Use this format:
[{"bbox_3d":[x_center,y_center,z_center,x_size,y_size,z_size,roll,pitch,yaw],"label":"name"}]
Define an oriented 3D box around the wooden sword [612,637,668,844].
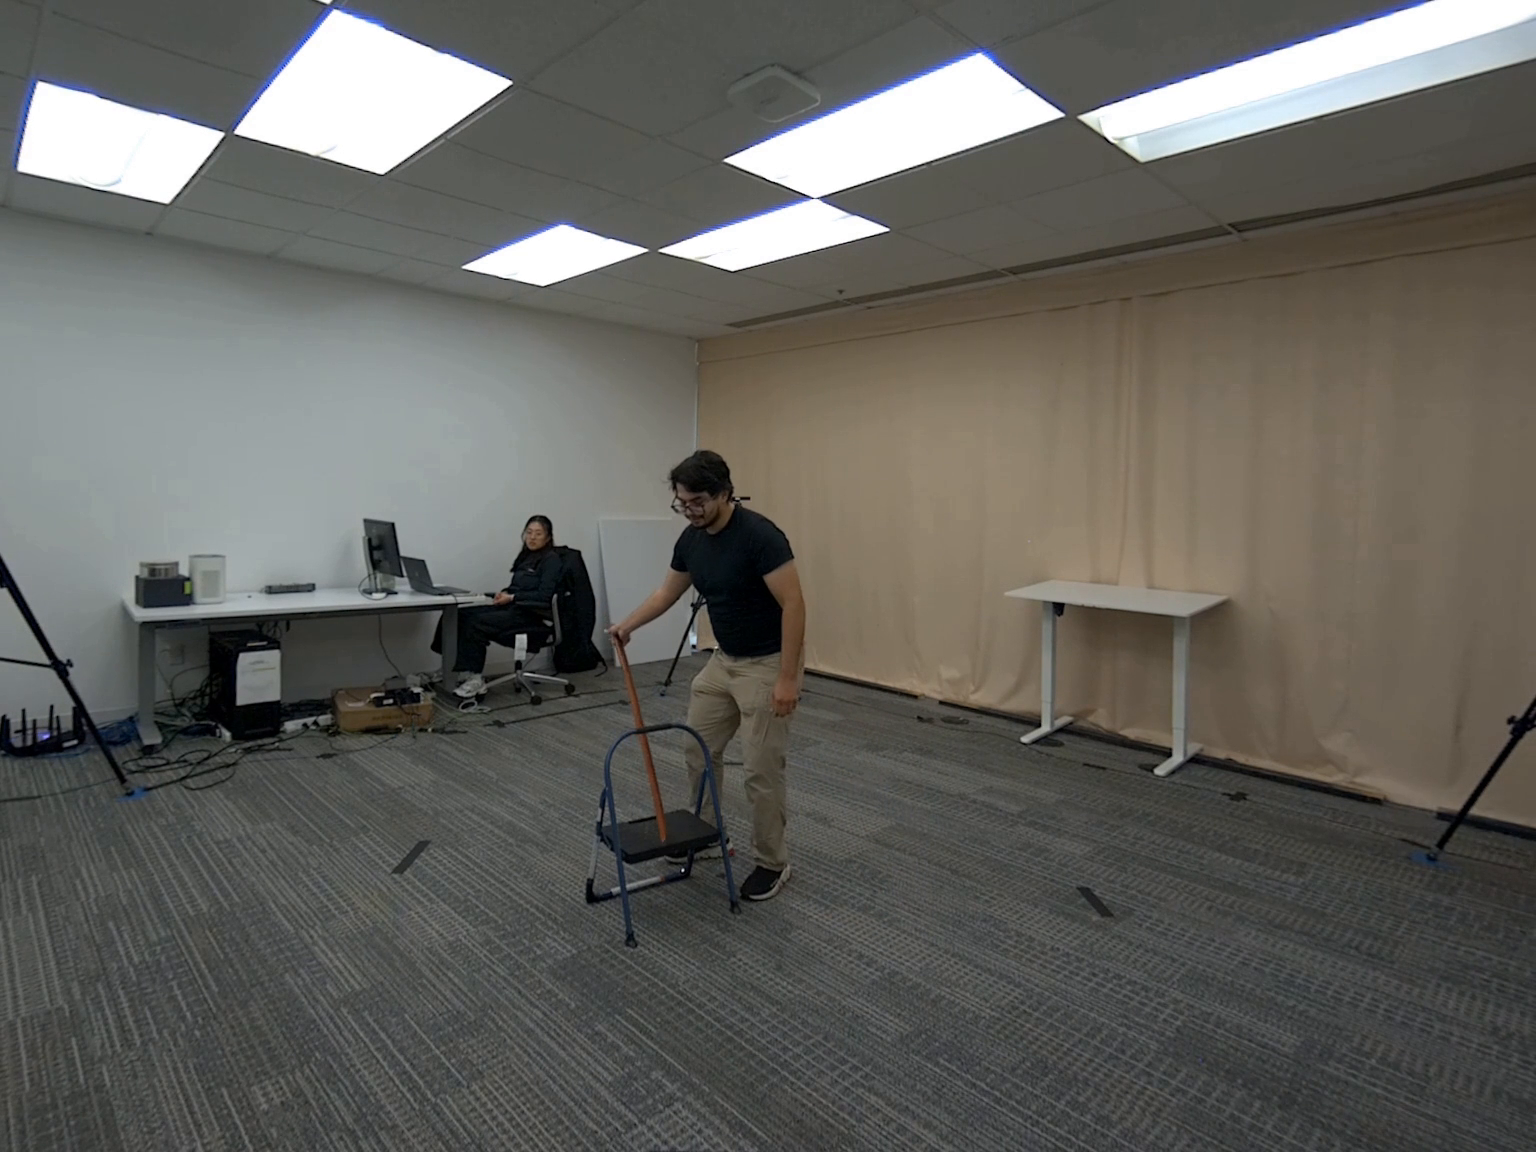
[{"bbox_3d":[-0.485,0.535,3.083,0.024,0.050,1.055,-32,40,7],"label":"wooden sword"}]
